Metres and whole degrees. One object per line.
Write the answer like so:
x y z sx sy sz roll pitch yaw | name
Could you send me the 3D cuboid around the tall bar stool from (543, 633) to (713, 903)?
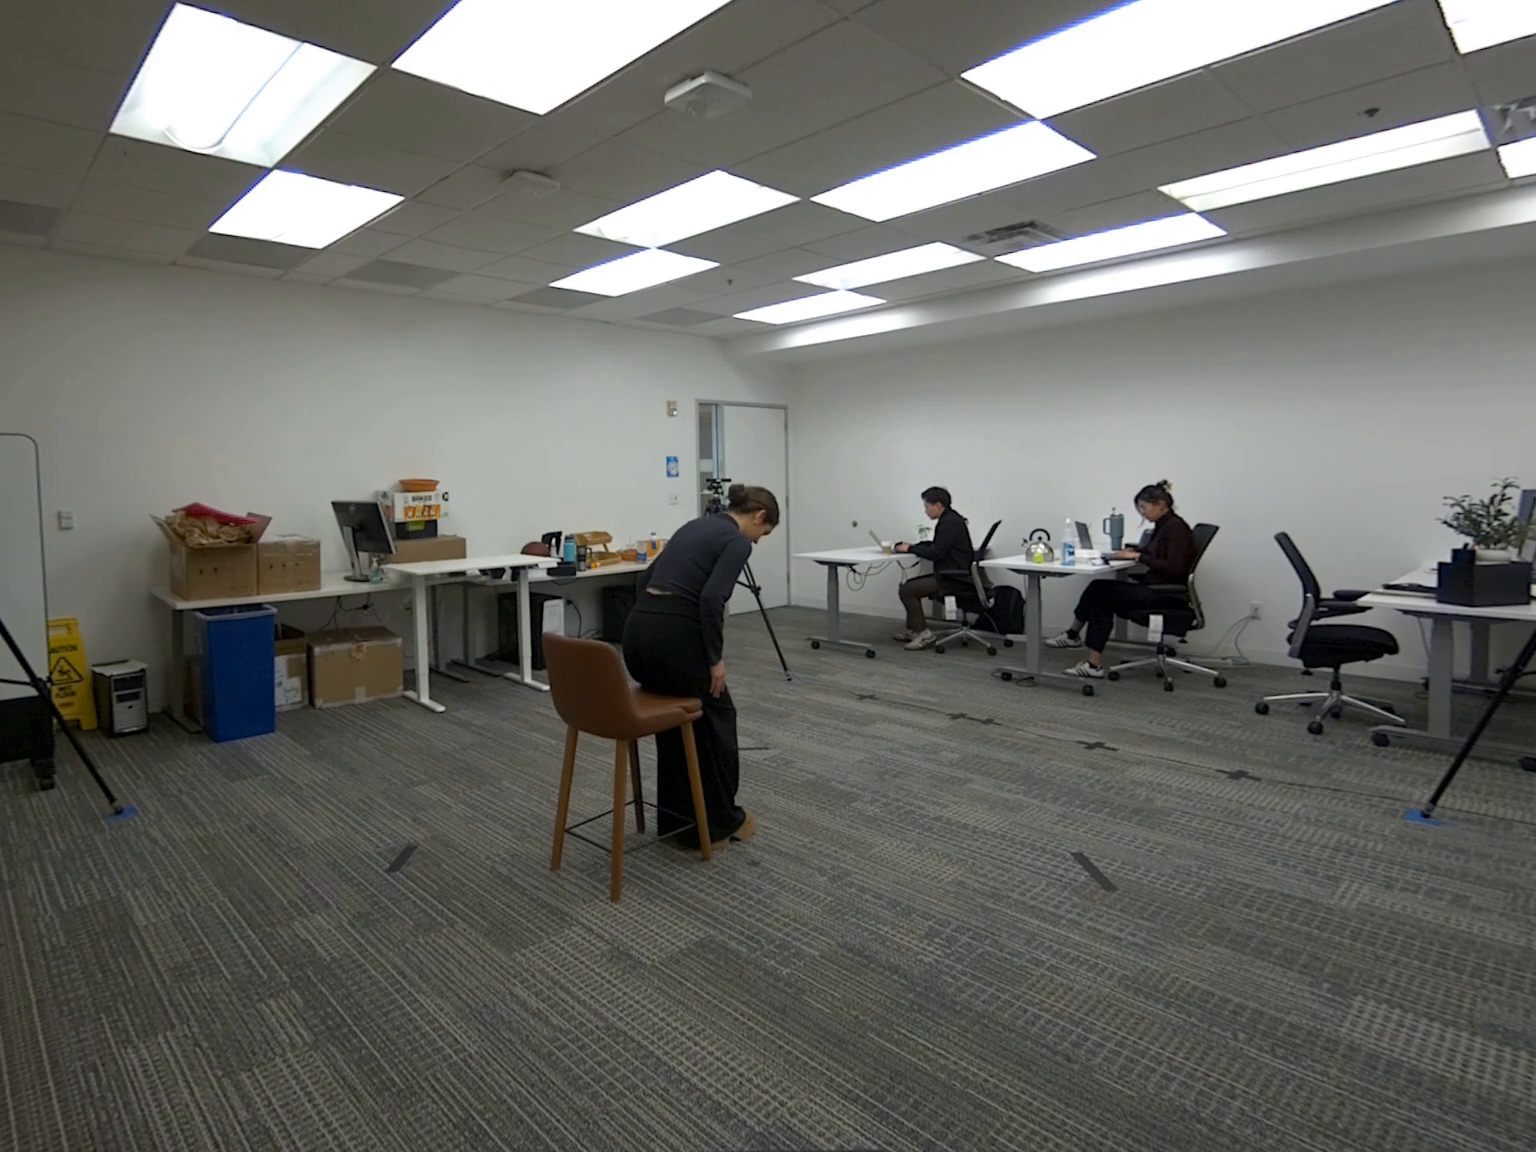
-0.516 0.619 3.088 0.470 0.886 0.456 2 7 42 | tall bar stool
